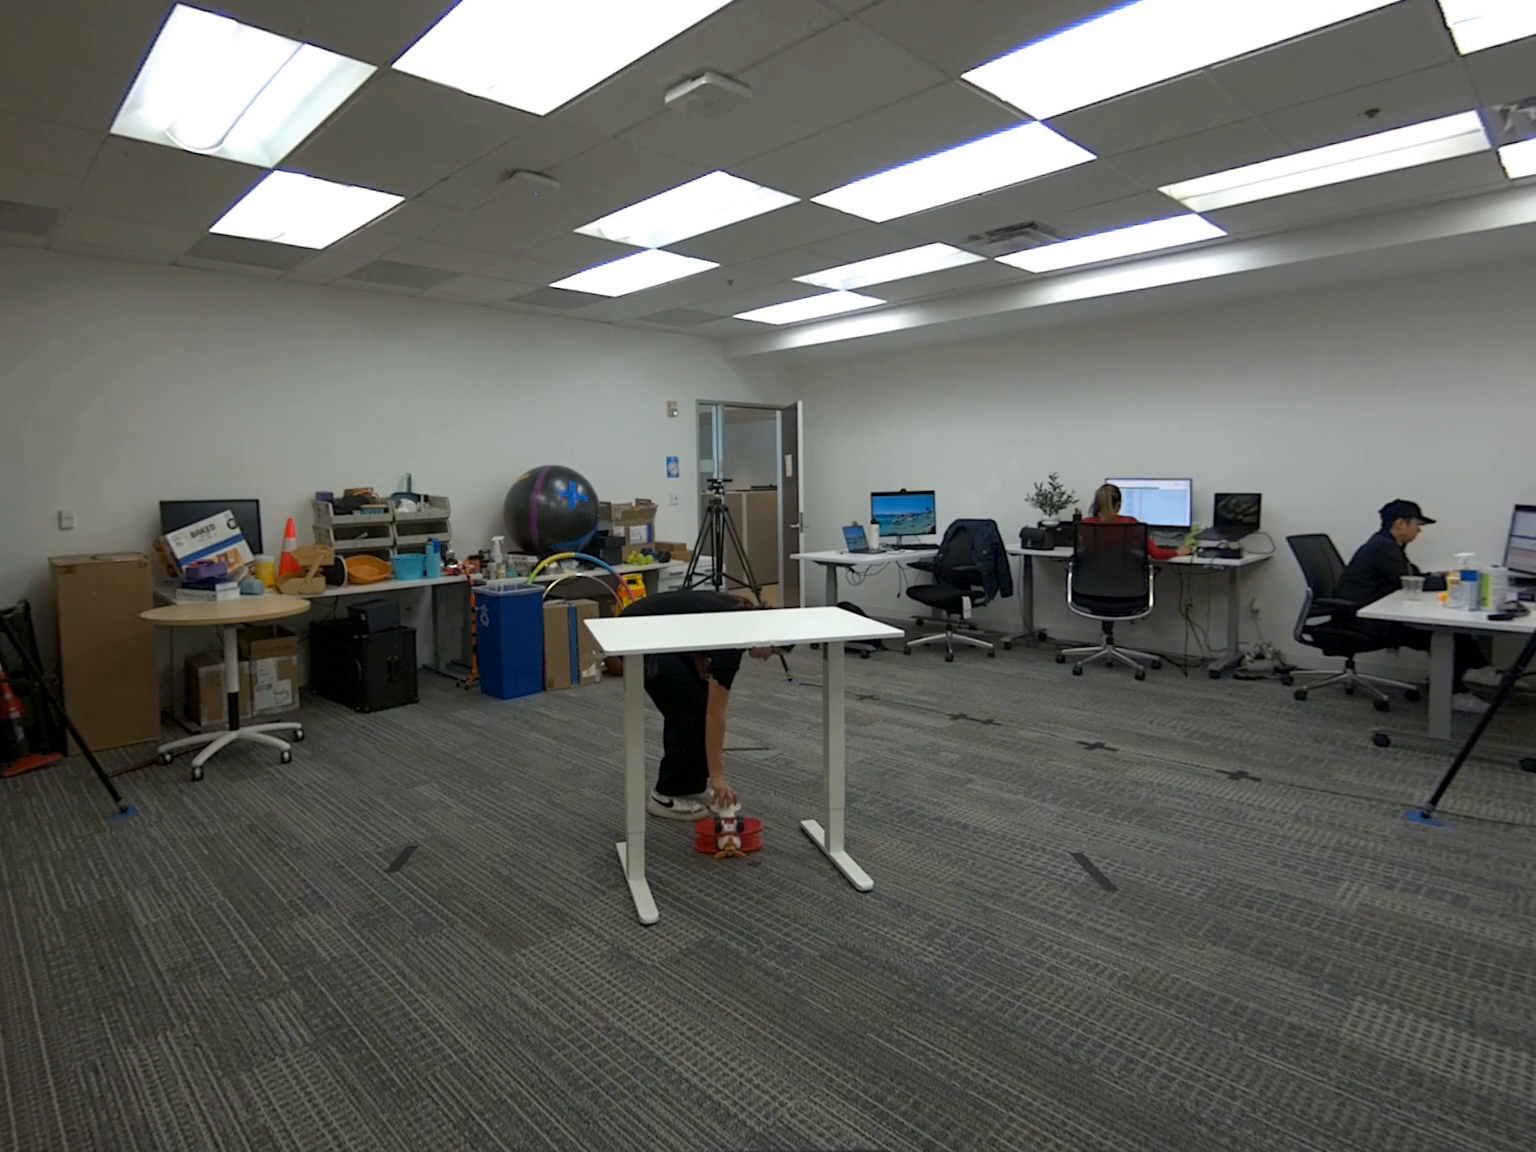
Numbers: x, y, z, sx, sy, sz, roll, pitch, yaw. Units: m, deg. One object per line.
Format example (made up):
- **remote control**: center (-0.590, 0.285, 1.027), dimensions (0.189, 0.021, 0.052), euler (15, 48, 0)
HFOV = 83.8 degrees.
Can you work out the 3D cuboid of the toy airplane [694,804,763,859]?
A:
- **toy airplane**: center (-0.130, 0.952, 3.245), dimensions (0.257, 0.155, 0.255), euler (5, 10, 23)
